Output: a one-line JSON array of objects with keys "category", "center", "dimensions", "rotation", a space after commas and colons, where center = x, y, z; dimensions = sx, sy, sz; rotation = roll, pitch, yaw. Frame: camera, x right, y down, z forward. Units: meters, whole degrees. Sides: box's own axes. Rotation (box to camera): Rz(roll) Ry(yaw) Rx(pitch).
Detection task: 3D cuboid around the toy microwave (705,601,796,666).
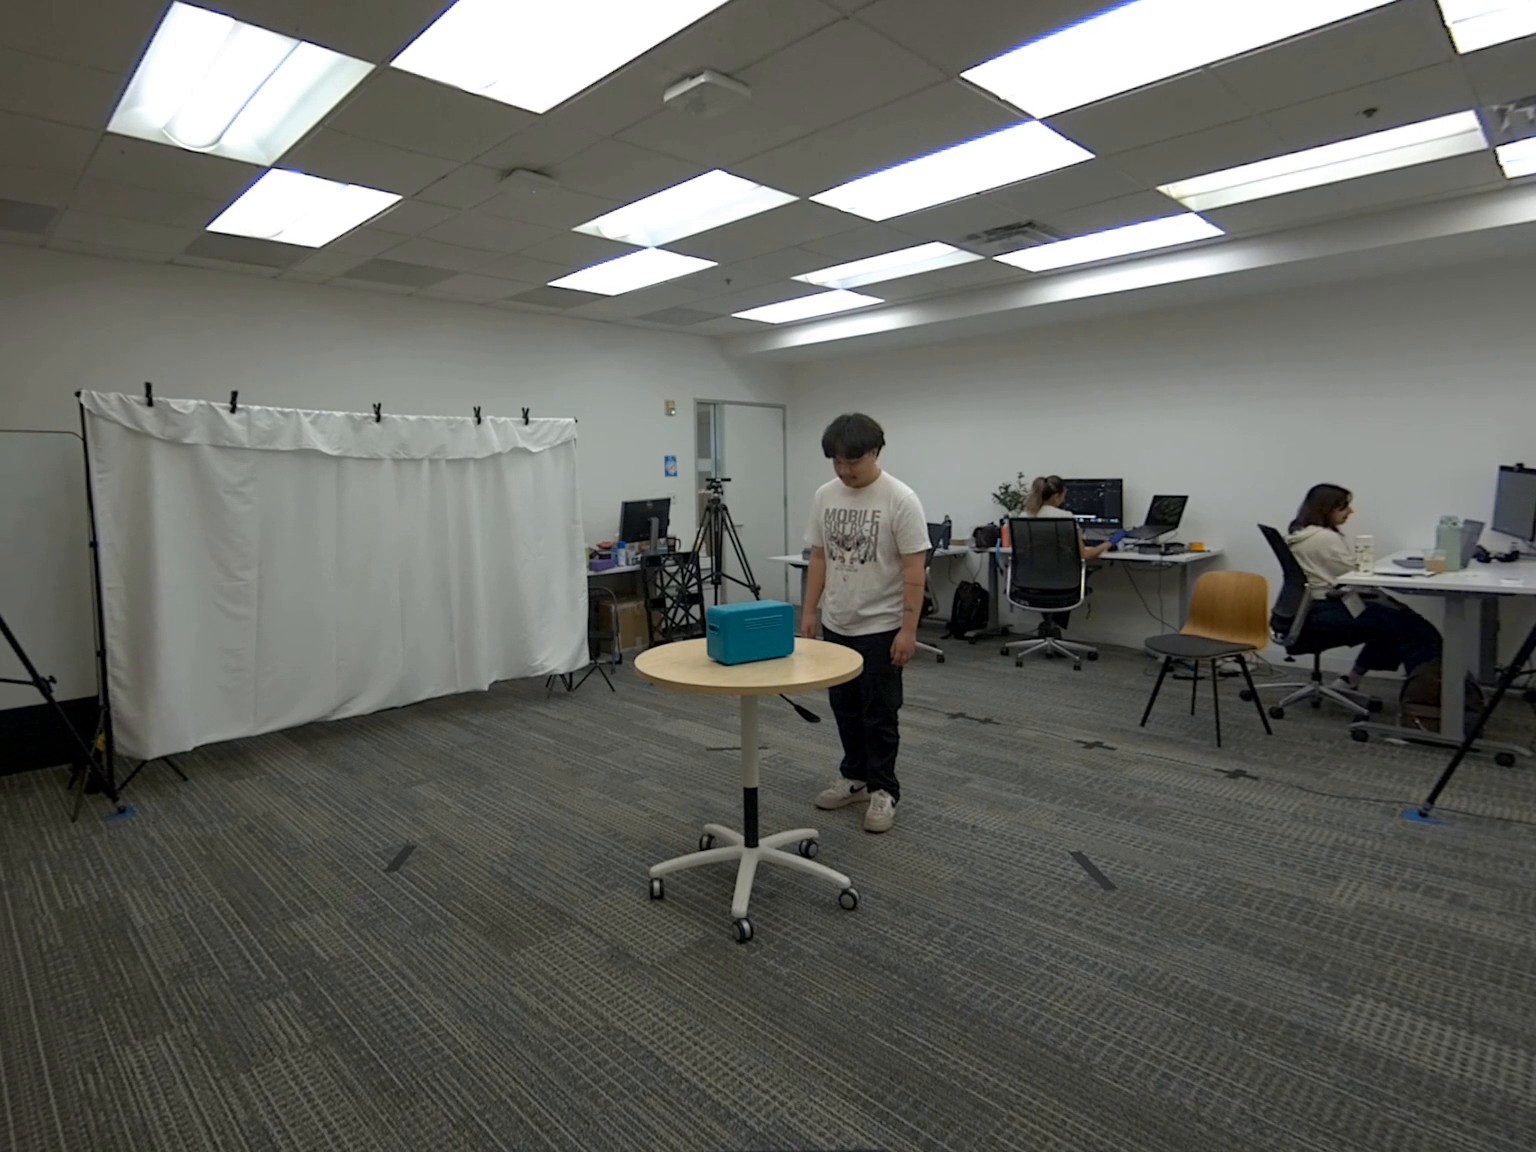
[{"category": "toy microwave", "center": [-0.062, 0.184, 2.874], "dimensions": [0.279, 0.183, 0.157], "rotation": [-5, 6, -31]}]
